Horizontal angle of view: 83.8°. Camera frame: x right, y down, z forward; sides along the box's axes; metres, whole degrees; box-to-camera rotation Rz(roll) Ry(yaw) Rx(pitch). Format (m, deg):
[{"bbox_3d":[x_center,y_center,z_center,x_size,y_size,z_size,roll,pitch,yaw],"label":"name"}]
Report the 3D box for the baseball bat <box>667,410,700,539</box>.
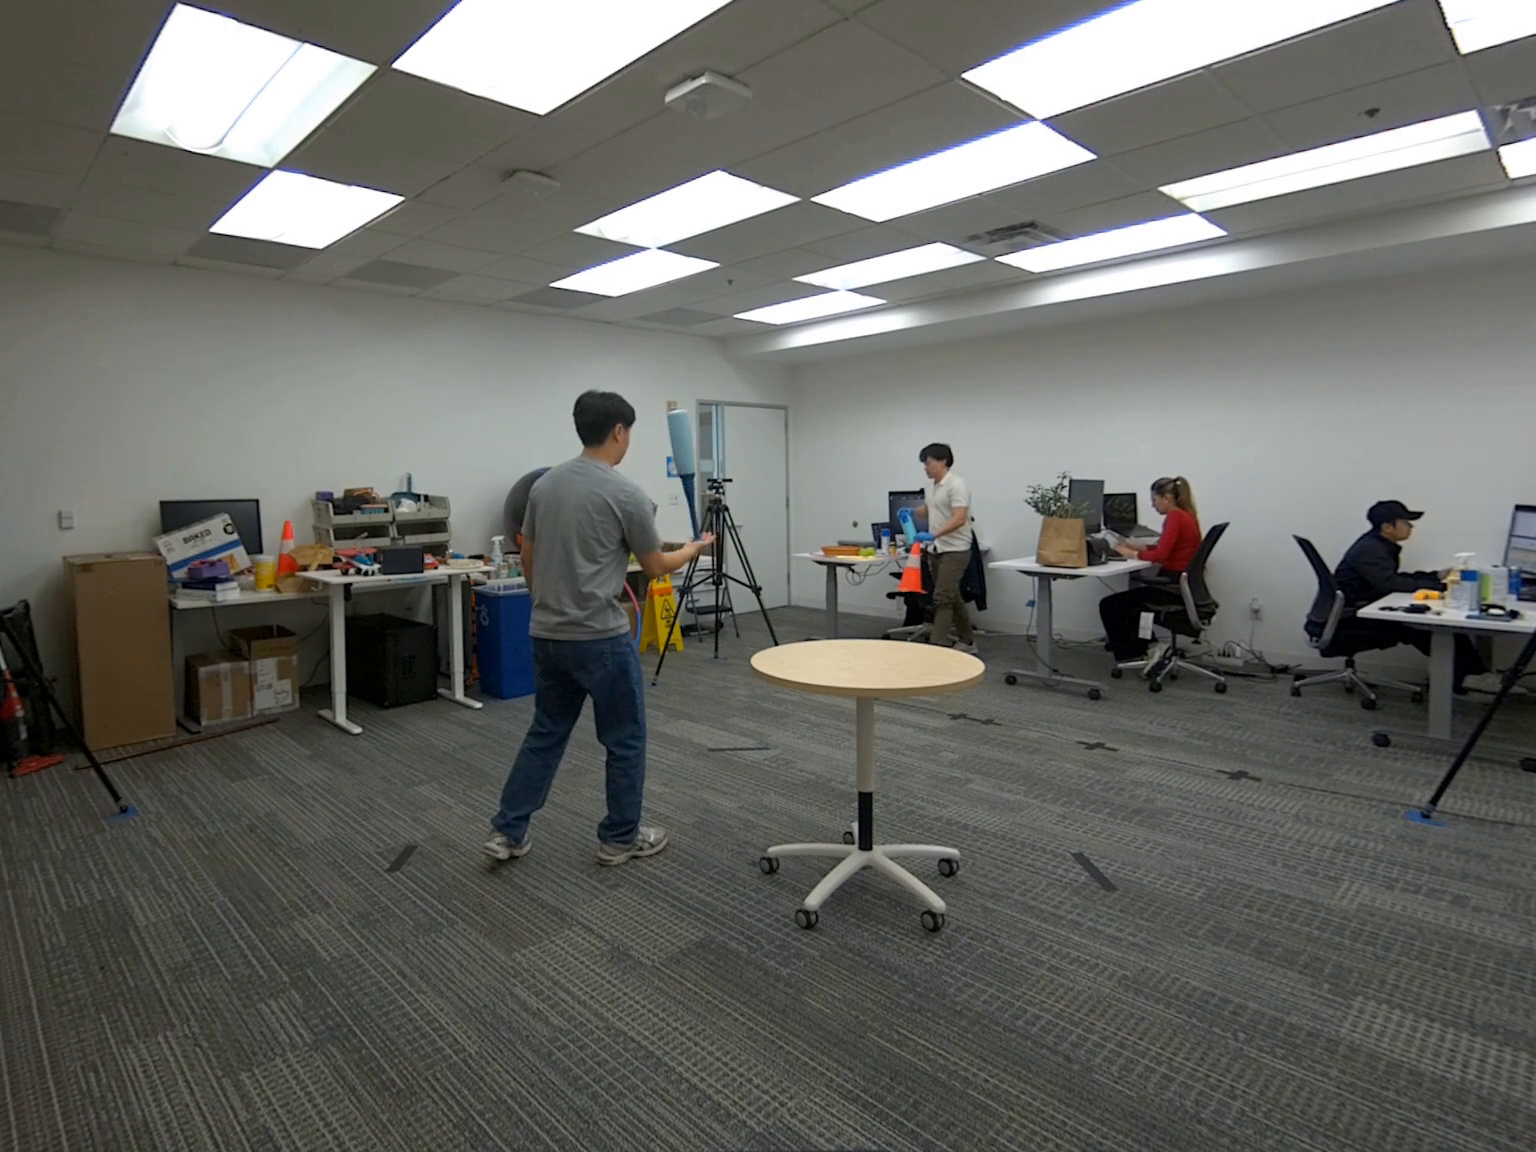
[{"bbox_3d":[-0.332,-0.395,3.407,0.089,0.538,0.090,-7,8,0],"label":"baseball bat"}]
